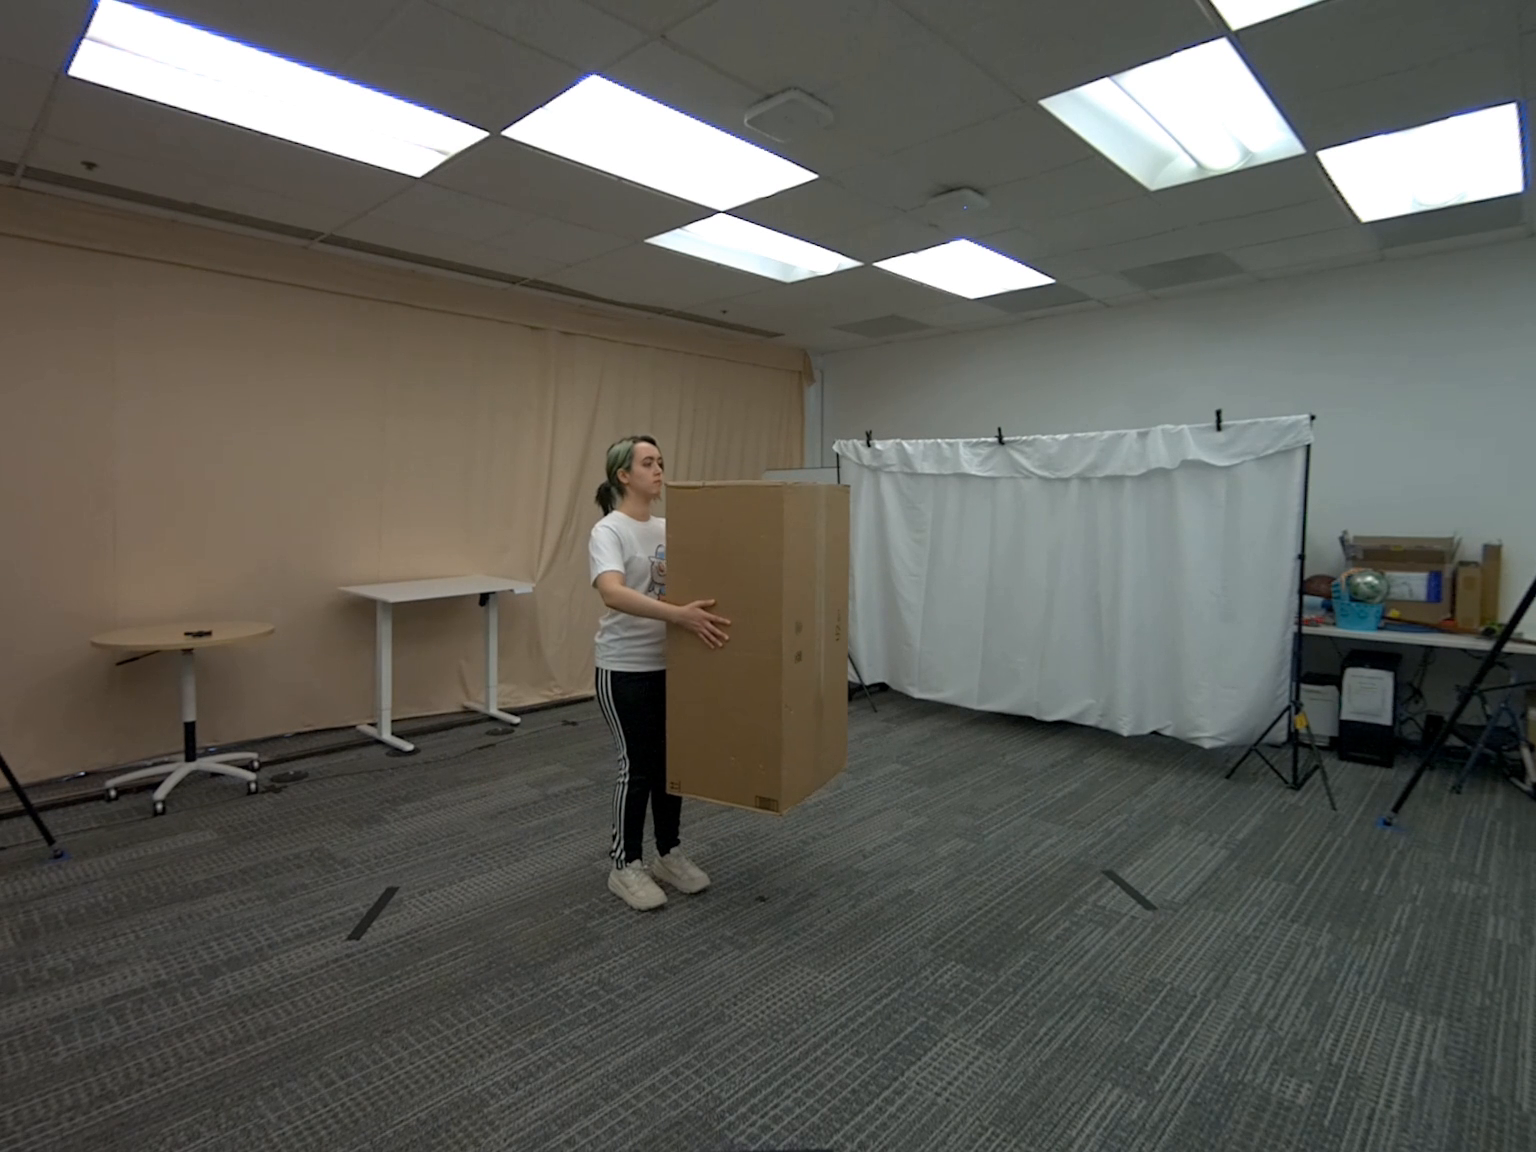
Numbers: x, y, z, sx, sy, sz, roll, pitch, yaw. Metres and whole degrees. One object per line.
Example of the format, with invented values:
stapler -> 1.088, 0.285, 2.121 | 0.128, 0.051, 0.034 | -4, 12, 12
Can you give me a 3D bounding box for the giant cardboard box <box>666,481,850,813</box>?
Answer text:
giant cardboard box -> -0.022, 0.199, 2.878 | 0.438, 1.023, 0.563 | 2, 4, 28
